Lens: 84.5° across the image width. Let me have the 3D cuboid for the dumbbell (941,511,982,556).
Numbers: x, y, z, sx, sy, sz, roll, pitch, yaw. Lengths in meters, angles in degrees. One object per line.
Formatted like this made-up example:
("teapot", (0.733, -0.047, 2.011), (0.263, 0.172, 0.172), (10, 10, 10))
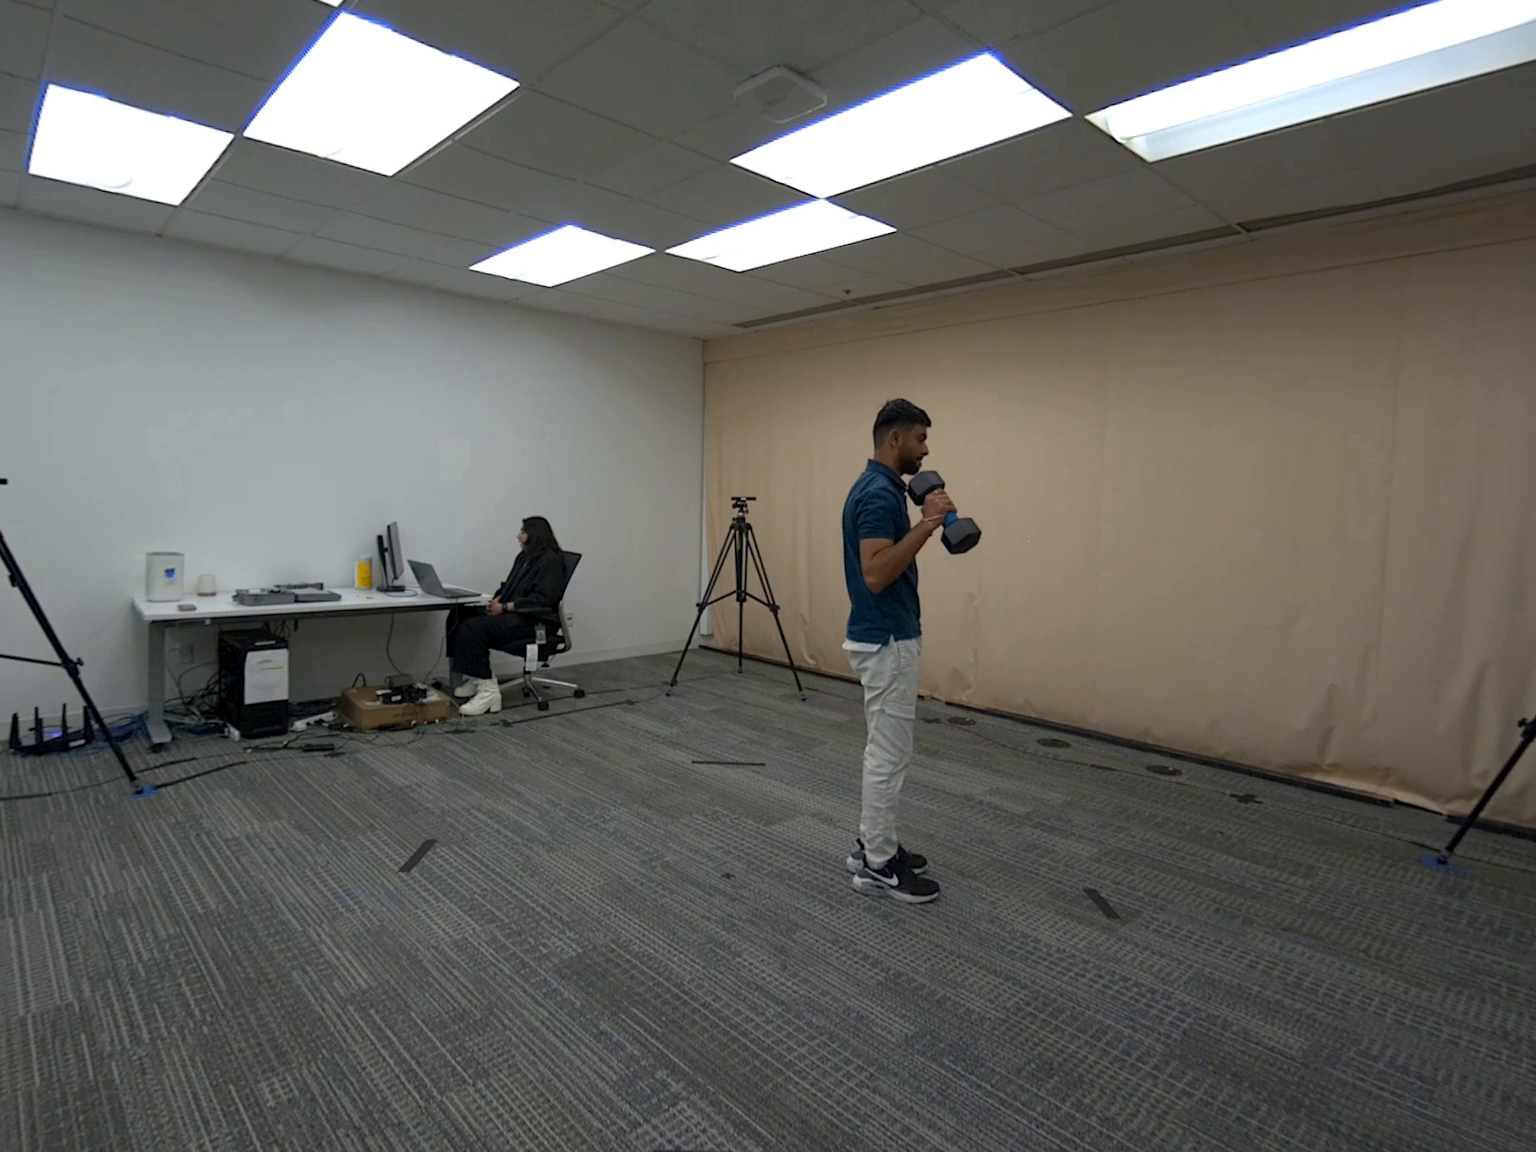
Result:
("dumbbell", (0.565, -0.206, 2.769), (0.108, 0.301, 0.120), (-26, -29, -7))
